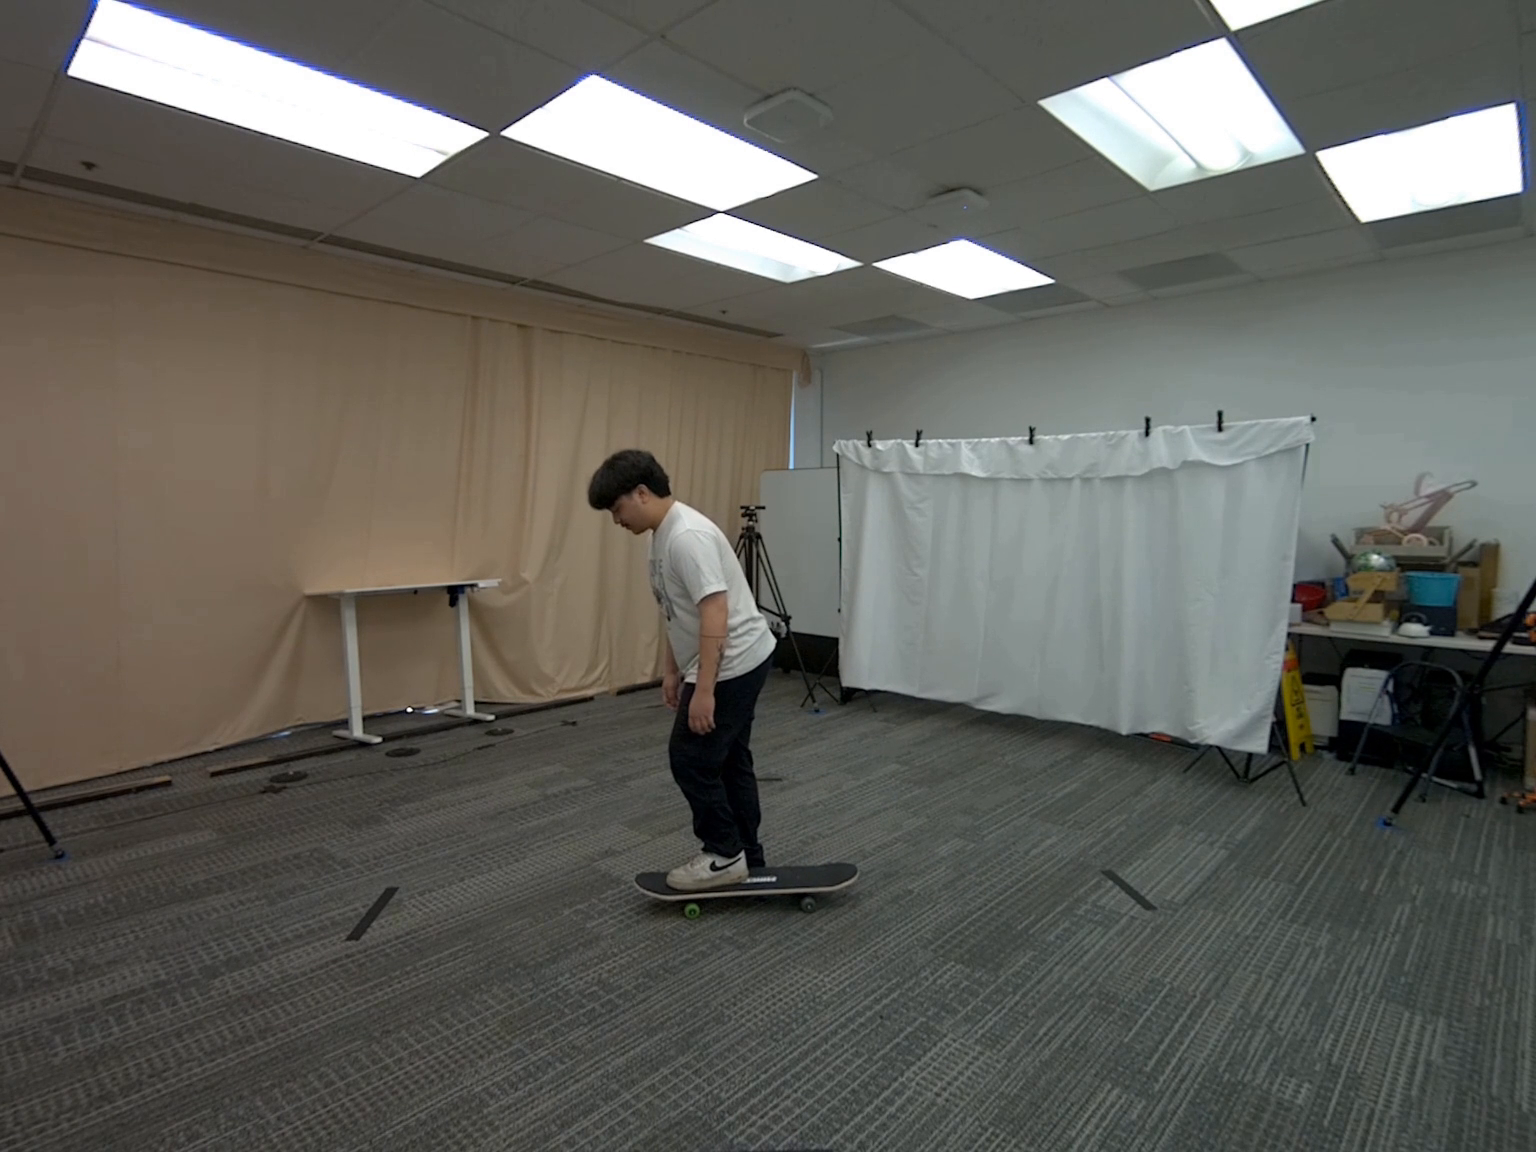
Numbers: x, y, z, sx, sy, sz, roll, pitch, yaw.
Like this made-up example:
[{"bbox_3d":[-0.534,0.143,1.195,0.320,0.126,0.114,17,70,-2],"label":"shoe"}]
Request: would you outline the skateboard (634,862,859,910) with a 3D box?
[{"bbox_3d":[-0.066,1.089,2.946,0.781,0.110,0.195,0,4,-5],"label":"skateboard"}]
